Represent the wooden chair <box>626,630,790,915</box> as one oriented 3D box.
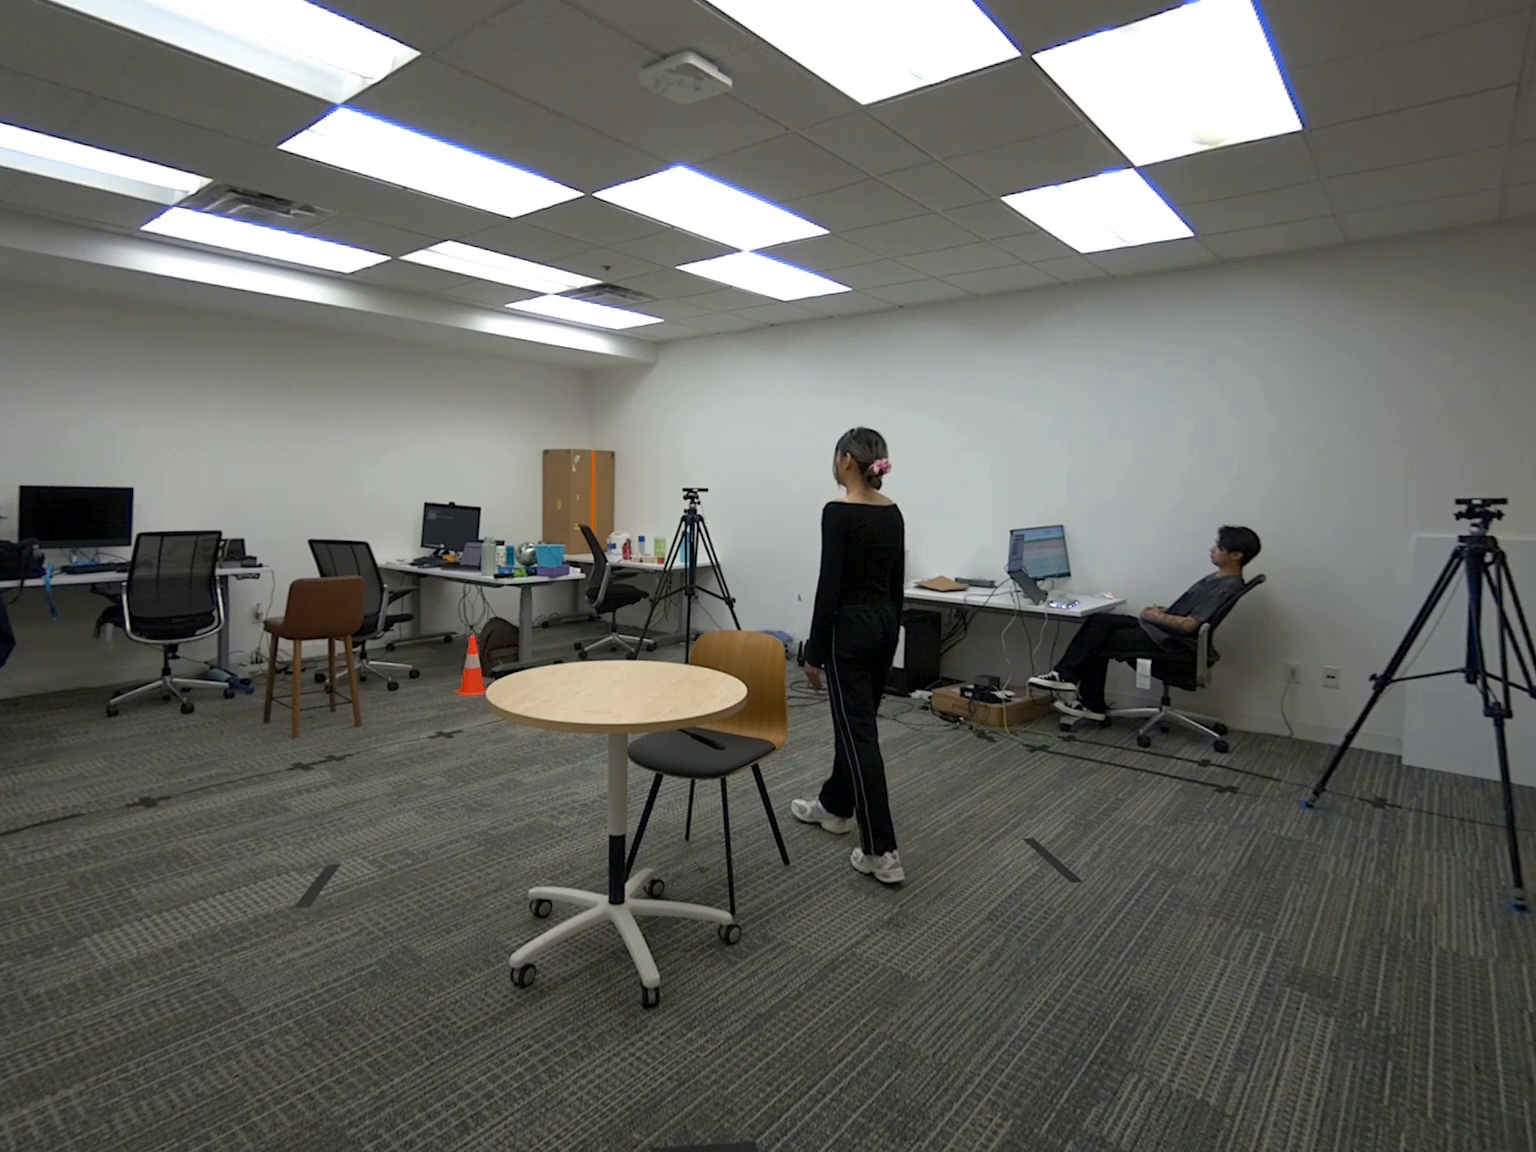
[{"bbox_3d":[-0.221,0.647,3.044,0.491,0.879,0.508,2,-1,27],"label":"wooden chair"}]
